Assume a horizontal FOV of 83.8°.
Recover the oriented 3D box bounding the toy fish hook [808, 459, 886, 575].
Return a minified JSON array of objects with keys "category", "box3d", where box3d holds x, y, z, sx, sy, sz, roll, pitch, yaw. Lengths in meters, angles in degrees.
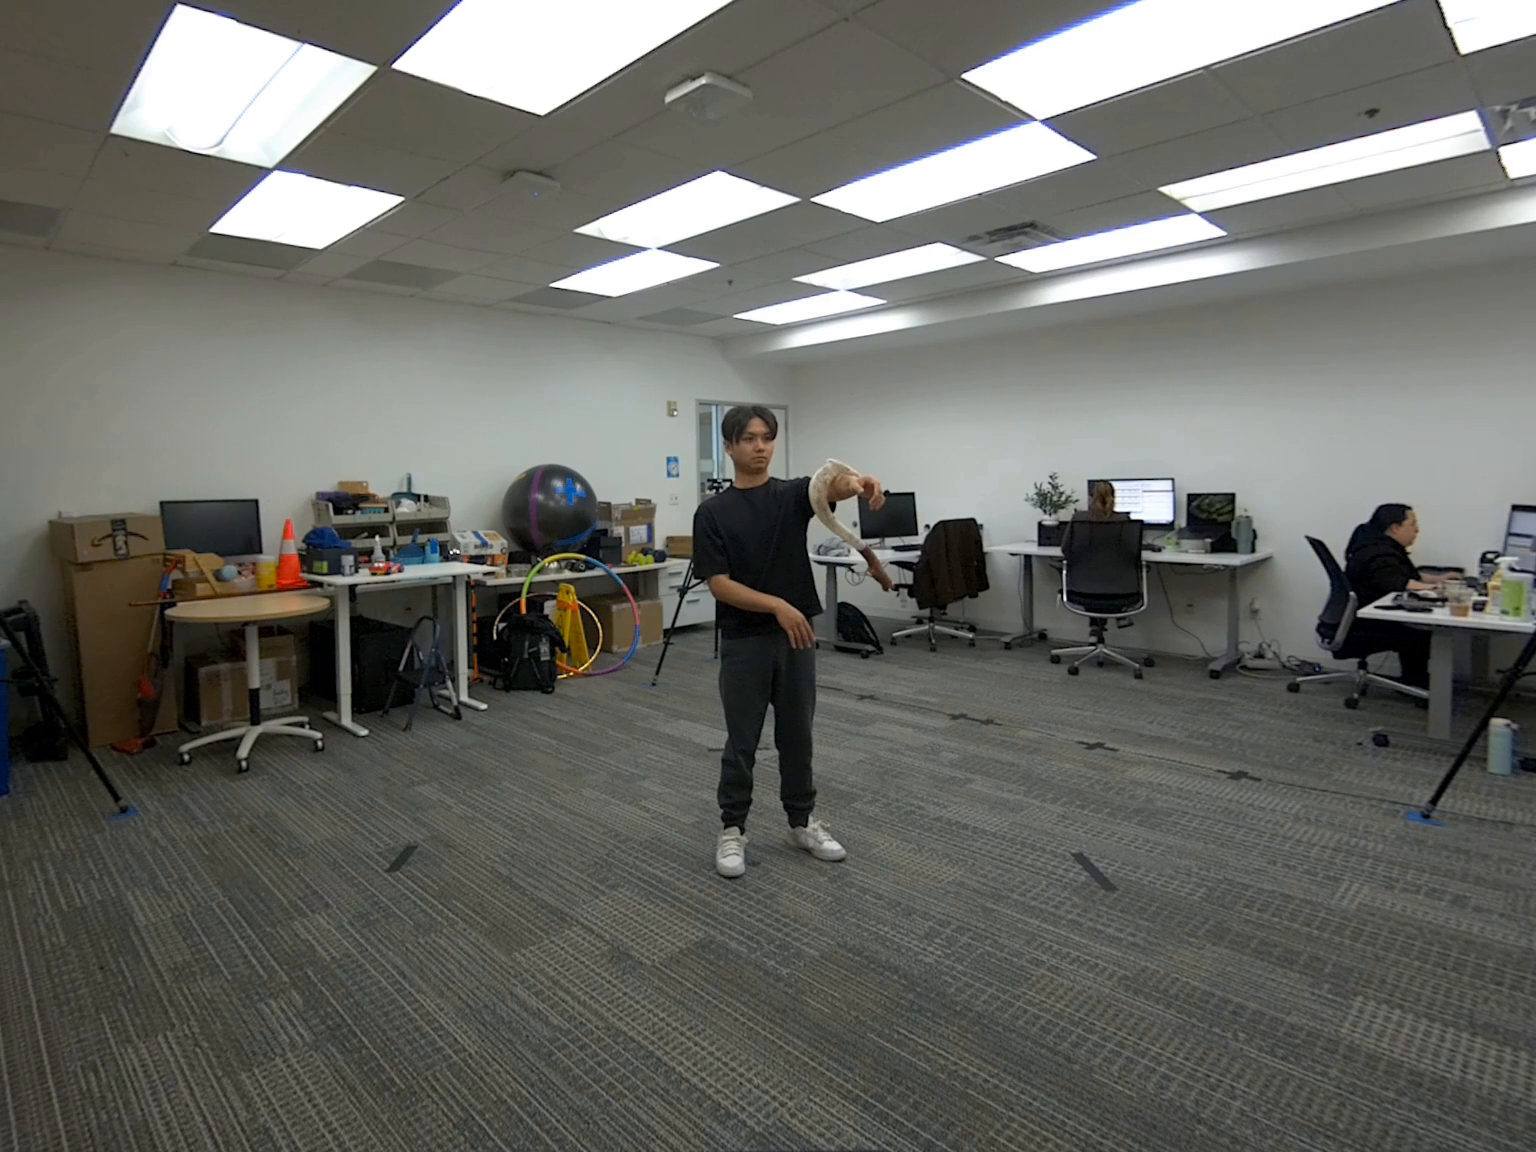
[{"category":"toy fish hook","box3d":[0.304,-0.163,2.844,0.224,0.493,0.050,-45,24,-18]}]
